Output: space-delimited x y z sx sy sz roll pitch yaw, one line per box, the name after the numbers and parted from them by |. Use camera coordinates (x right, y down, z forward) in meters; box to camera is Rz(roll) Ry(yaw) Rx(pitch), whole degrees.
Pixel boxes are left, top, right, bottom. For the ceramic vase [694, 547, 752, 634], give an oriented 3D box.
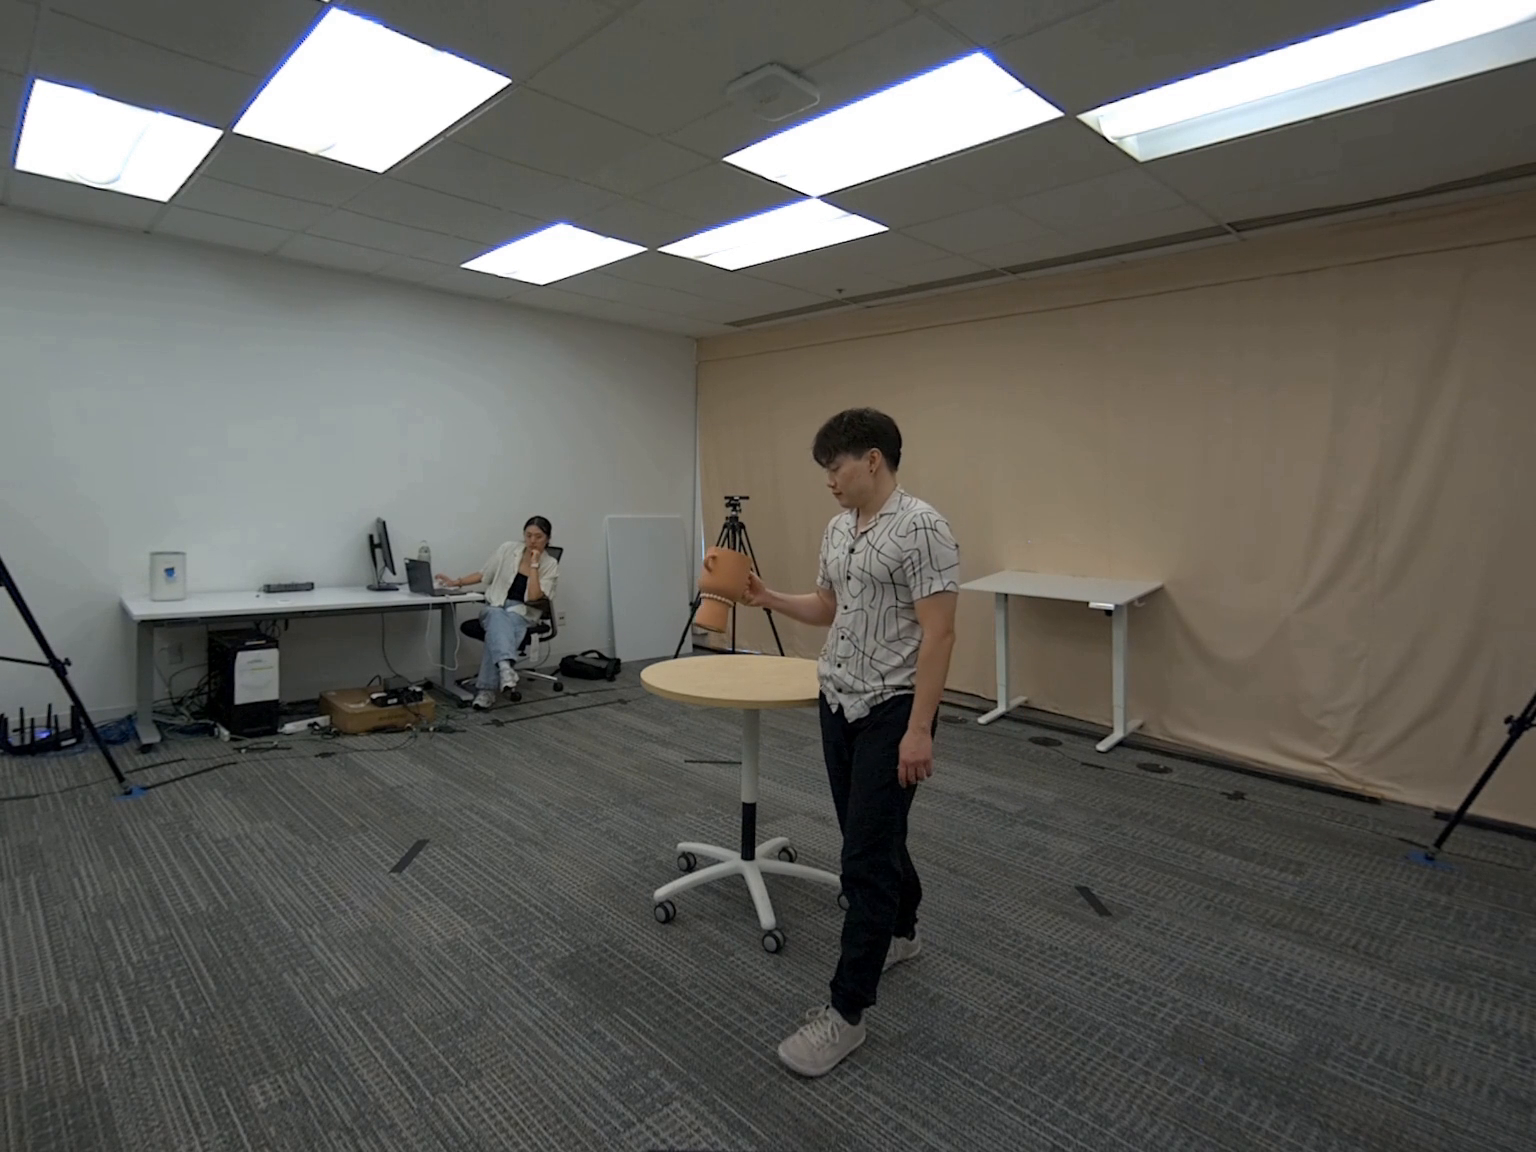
-0.137 0.040 2.373 0.157 0.221 0.136 16 -10 -15 | ceramic vase
